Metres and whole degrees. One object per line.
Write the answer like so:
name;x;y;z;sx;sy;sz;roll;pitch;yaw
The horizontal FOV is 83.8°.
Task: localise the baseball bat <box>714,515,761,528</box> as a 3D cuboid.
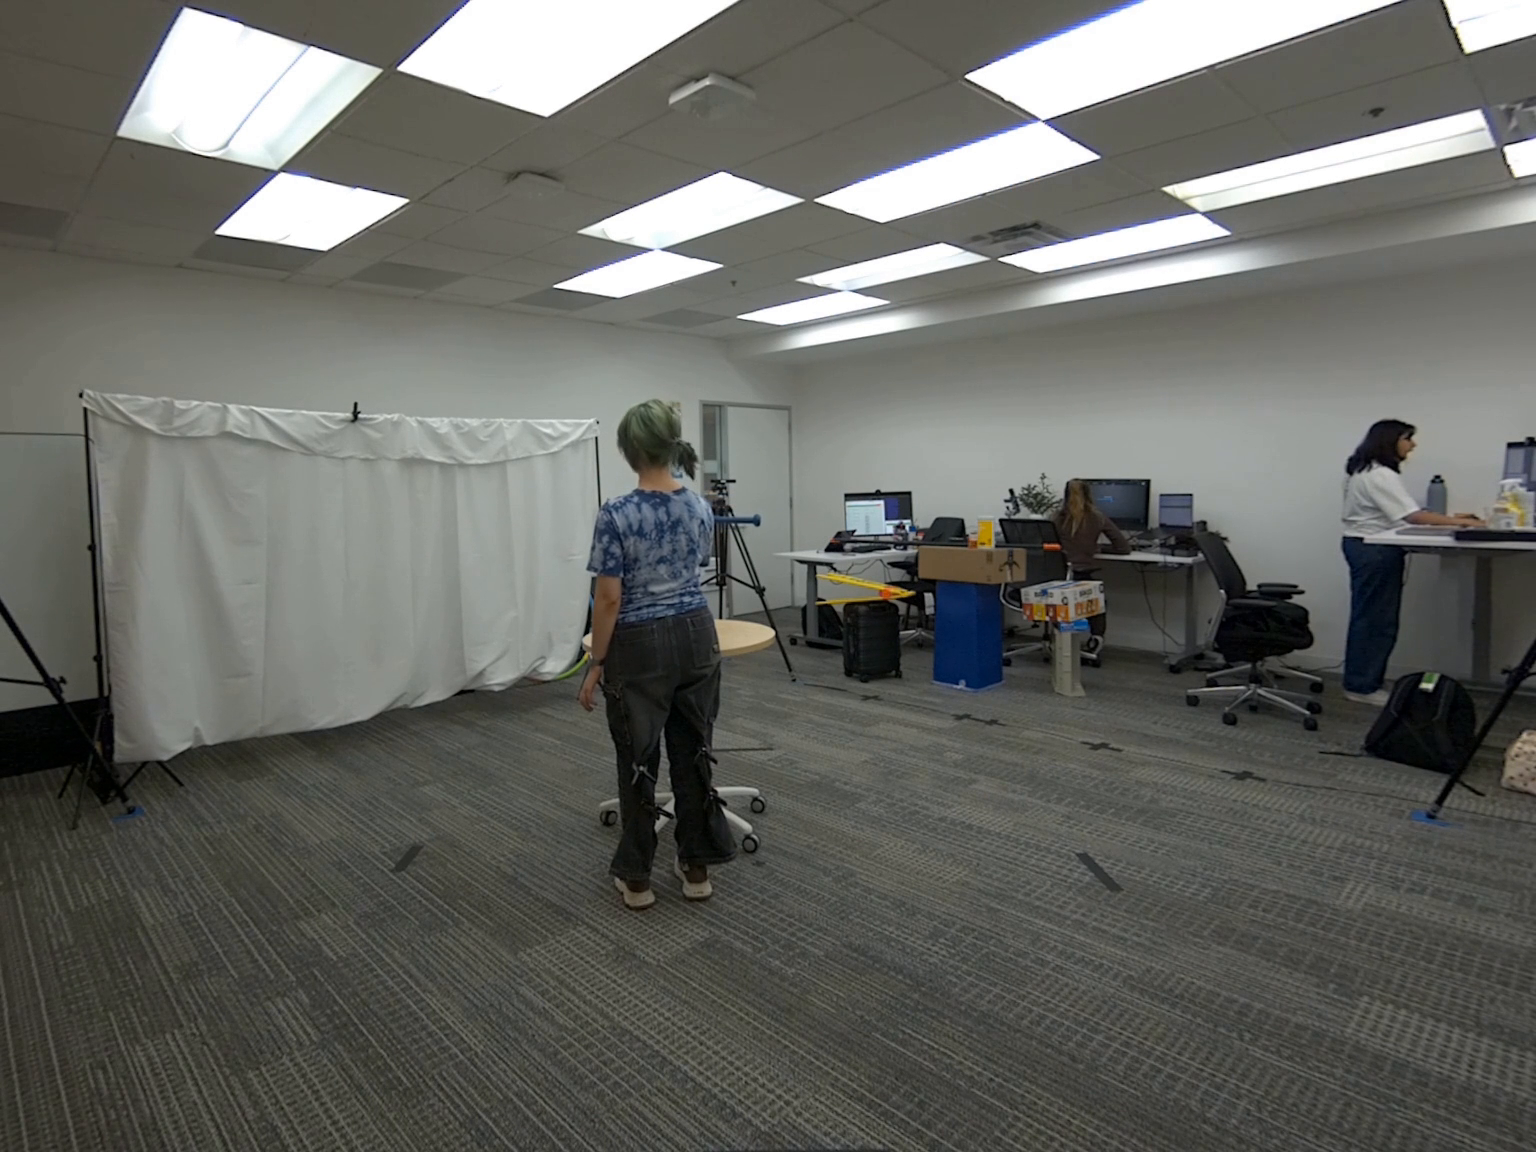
baseball bat;-0.304;-0.222;3.318;0.542;0.089;0.089;1;5;-1
